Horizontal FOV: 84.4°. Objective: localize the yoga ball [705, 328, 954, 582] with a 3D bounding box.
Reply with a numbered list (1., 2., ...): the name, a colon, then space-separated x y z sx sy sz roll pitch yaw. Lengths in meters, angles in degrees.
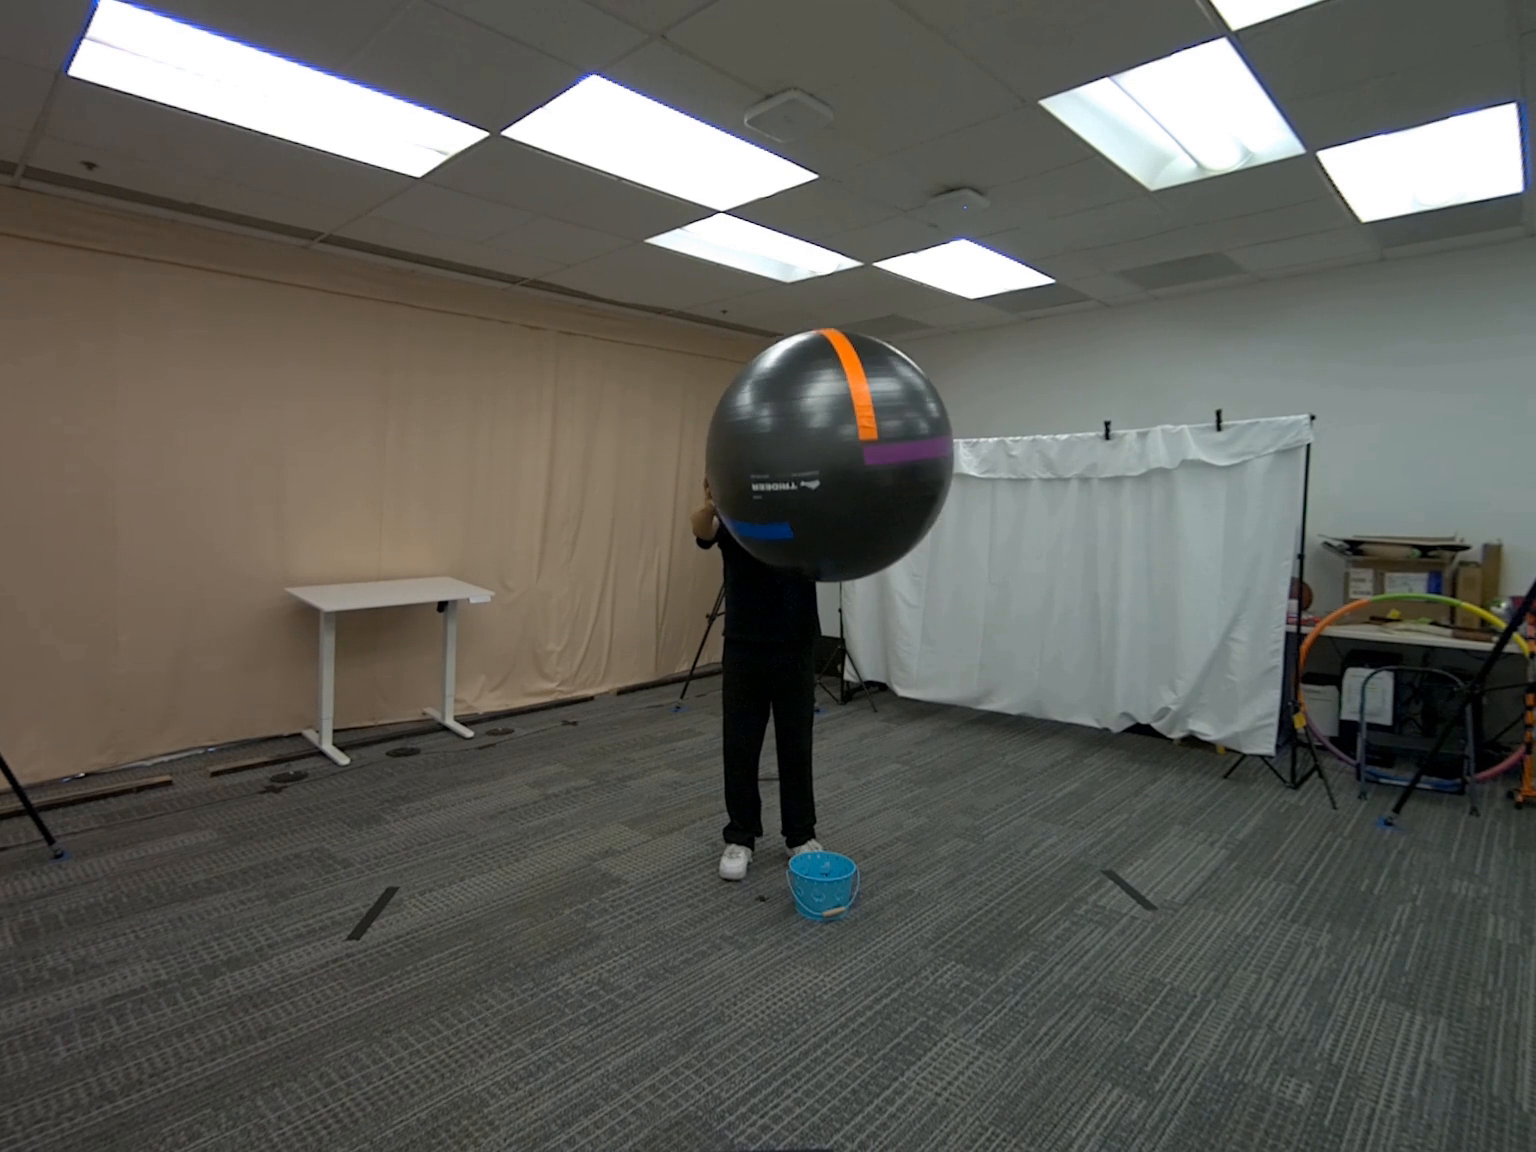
1. yoga ball: 0.187 -0.355 2.590 0.757 0.756 0.760 0 4 -2
